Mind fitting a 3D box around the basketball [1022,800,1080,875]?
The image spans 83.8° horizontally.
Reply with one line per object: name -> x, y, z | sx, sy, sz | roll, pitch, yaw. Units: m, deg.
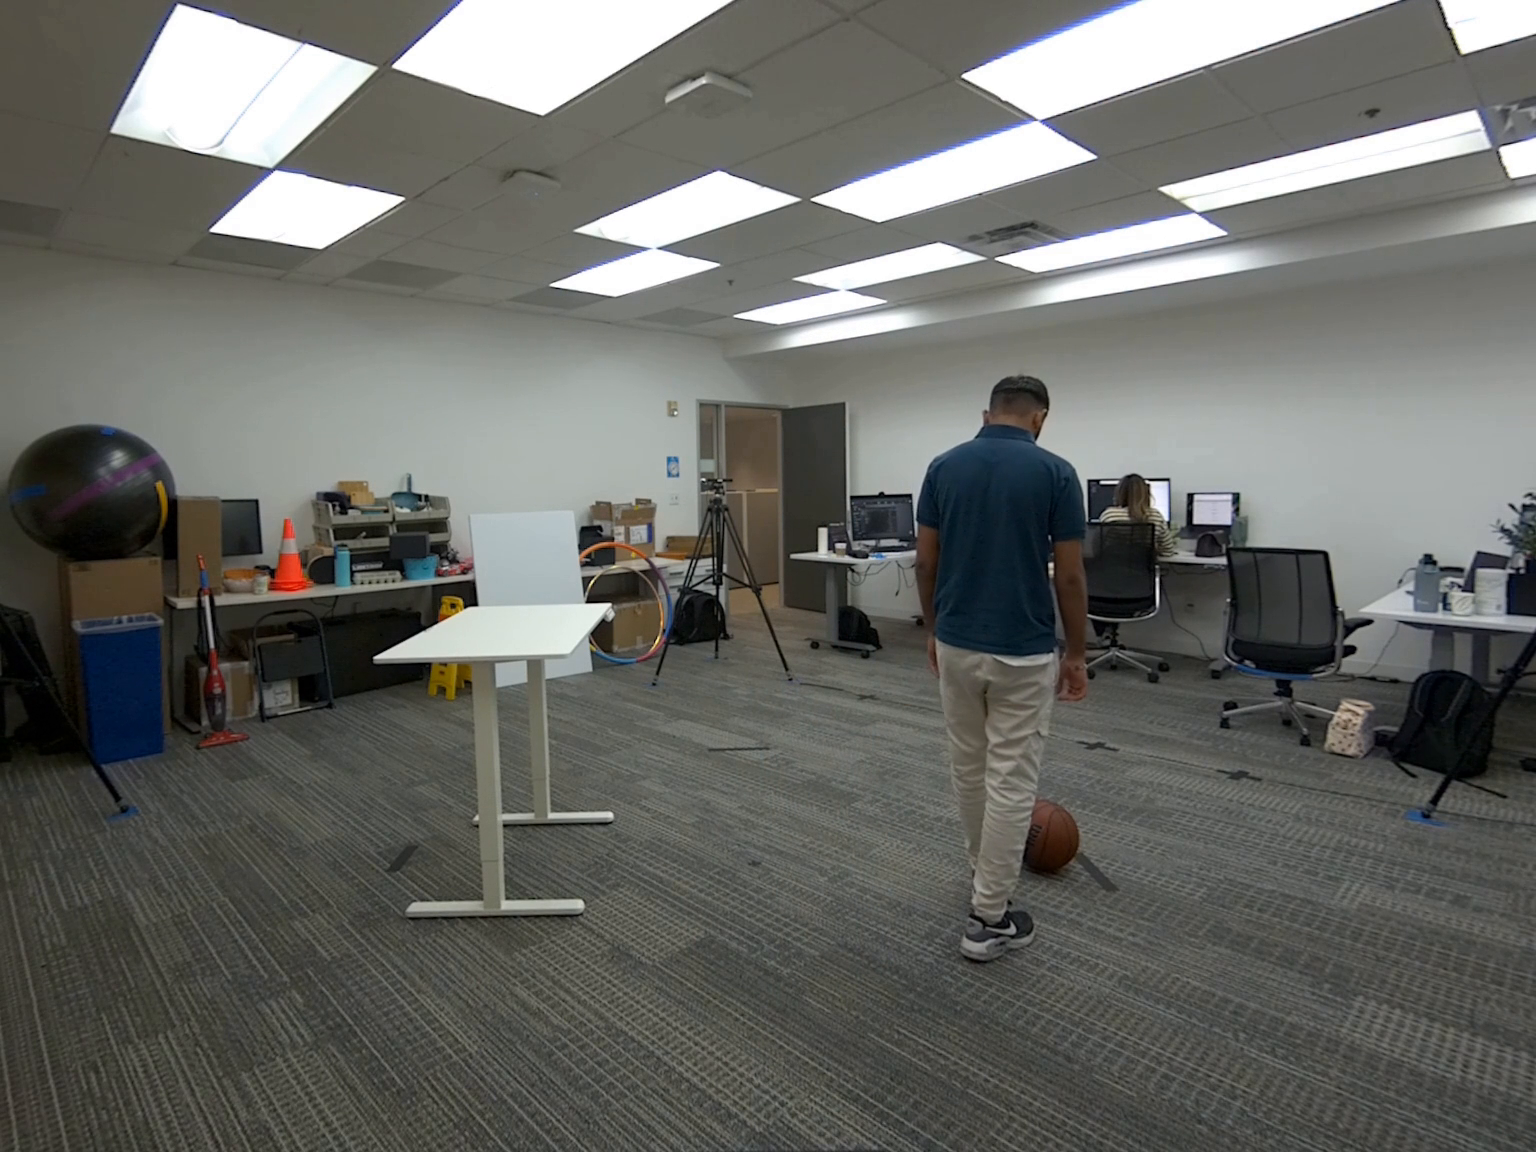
basketball -> 0.983, 0.917, 3.031 | 0.236, 0.235, 0.237 | -1, 5, -2
